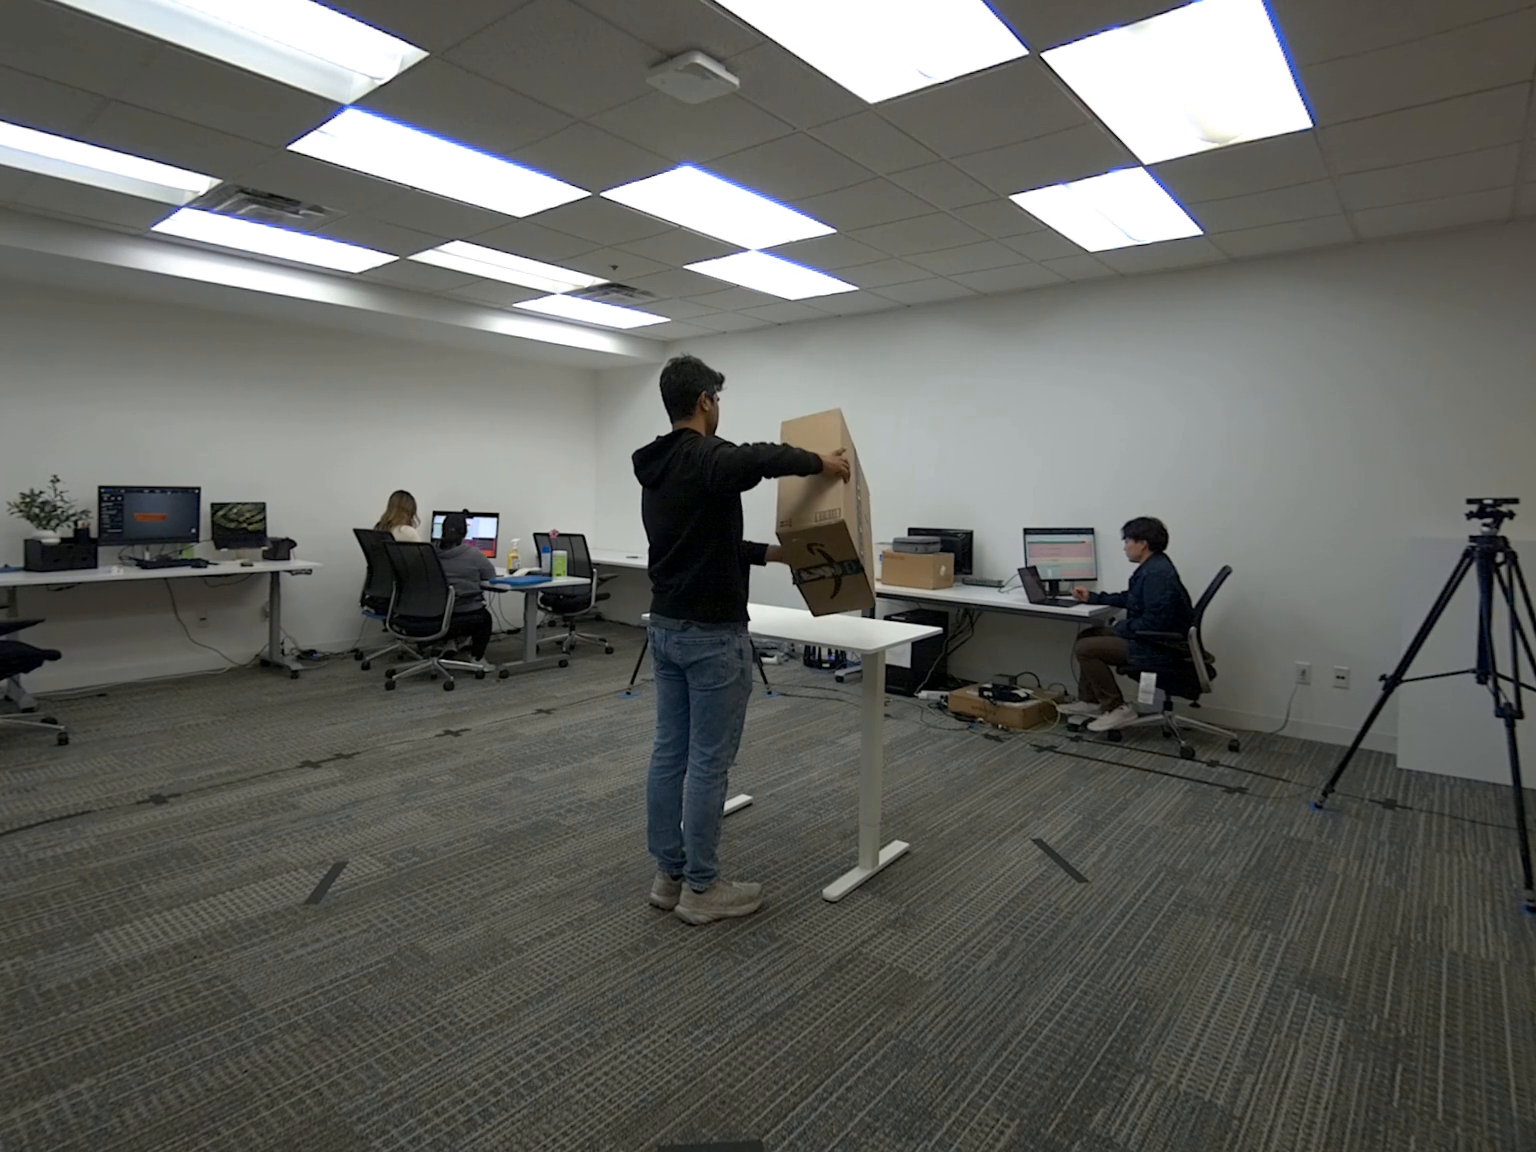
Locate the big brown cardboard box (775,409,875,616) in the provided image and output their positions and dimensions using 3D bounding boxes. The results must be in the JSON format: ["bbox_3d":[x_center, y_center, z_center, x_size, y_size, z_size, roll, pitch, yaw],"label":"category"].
[{"bbox_3d":[0.186,-0.217,2.872,0.236,0.401,0.604,-11,44,16],"label":"big brown cardboard box"}]
